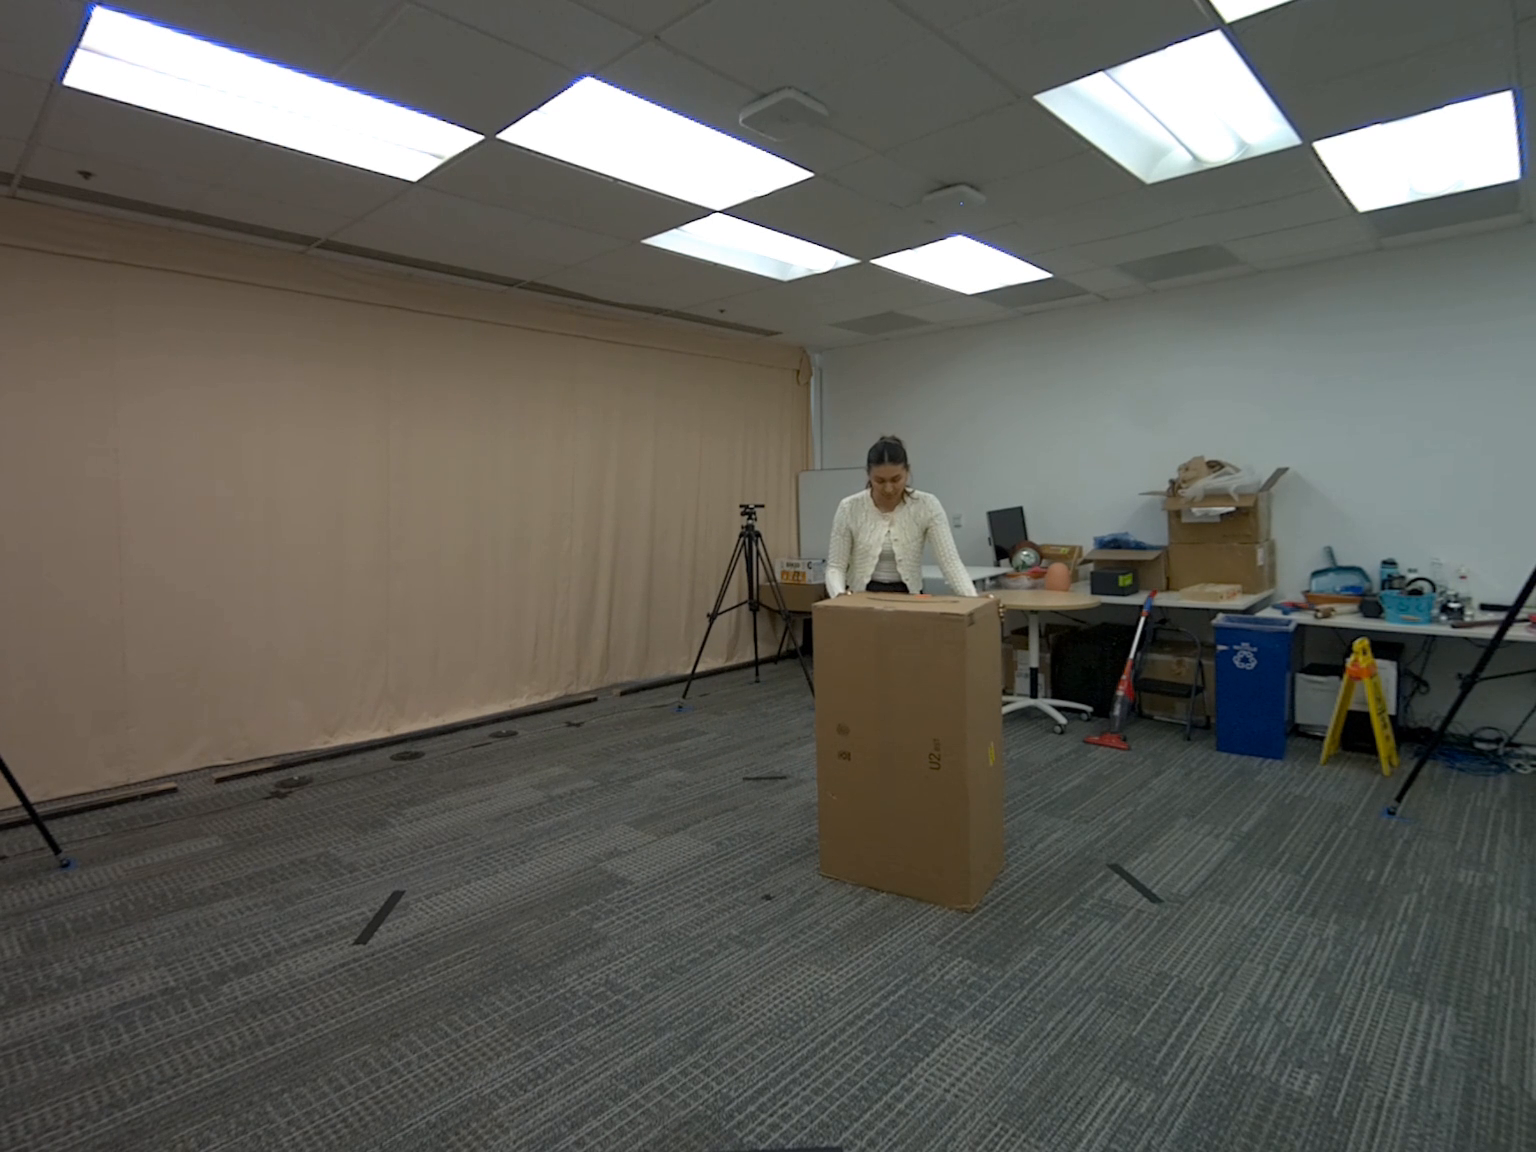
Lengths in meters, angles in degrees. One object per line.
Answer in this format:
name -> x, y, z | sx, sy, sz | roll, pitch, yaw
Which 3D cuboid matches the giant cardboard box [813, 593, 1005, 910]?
giant cardboard box -> 0.531, 0.607, 3.134 | 0.595, 1.023, 0.415 | 1, 5, 32
